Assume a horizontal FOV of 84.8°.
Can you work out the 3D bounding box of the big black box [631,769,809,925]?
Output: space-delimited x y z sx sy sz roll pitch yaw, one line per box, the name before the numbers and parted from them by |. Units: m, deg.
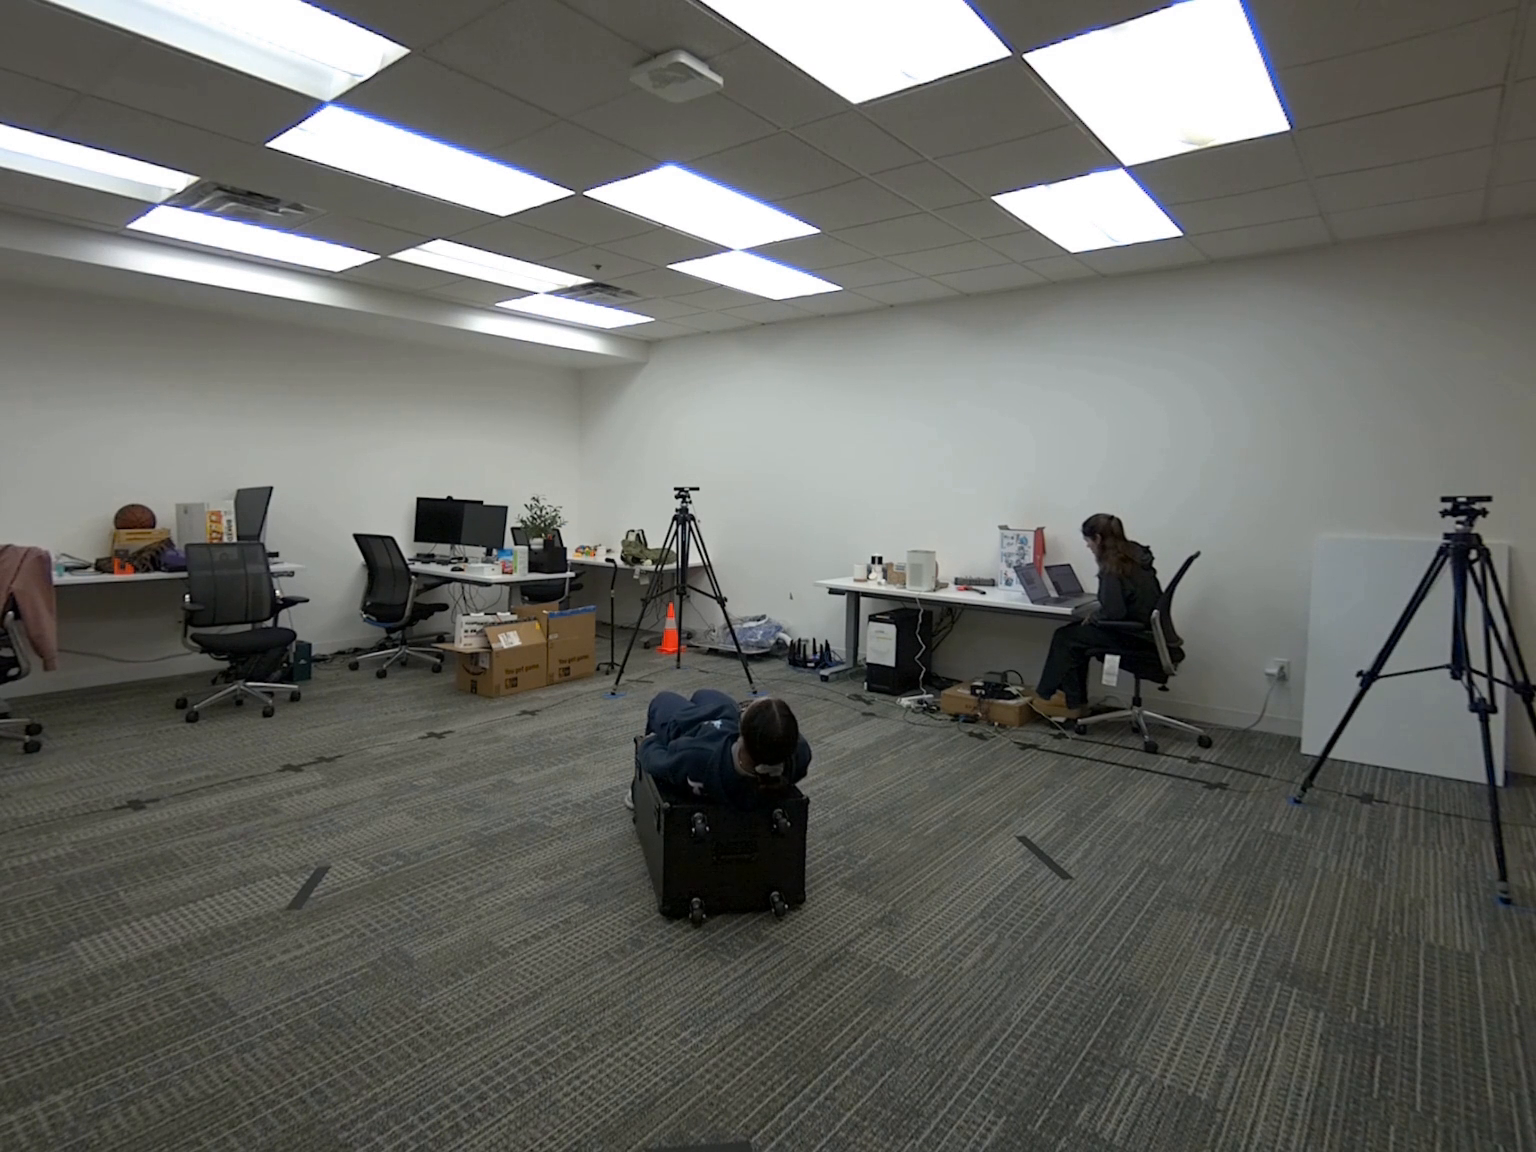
big black box | -0.208 0.873 3.091 0.513 0.395 0.877 1 5 -15
